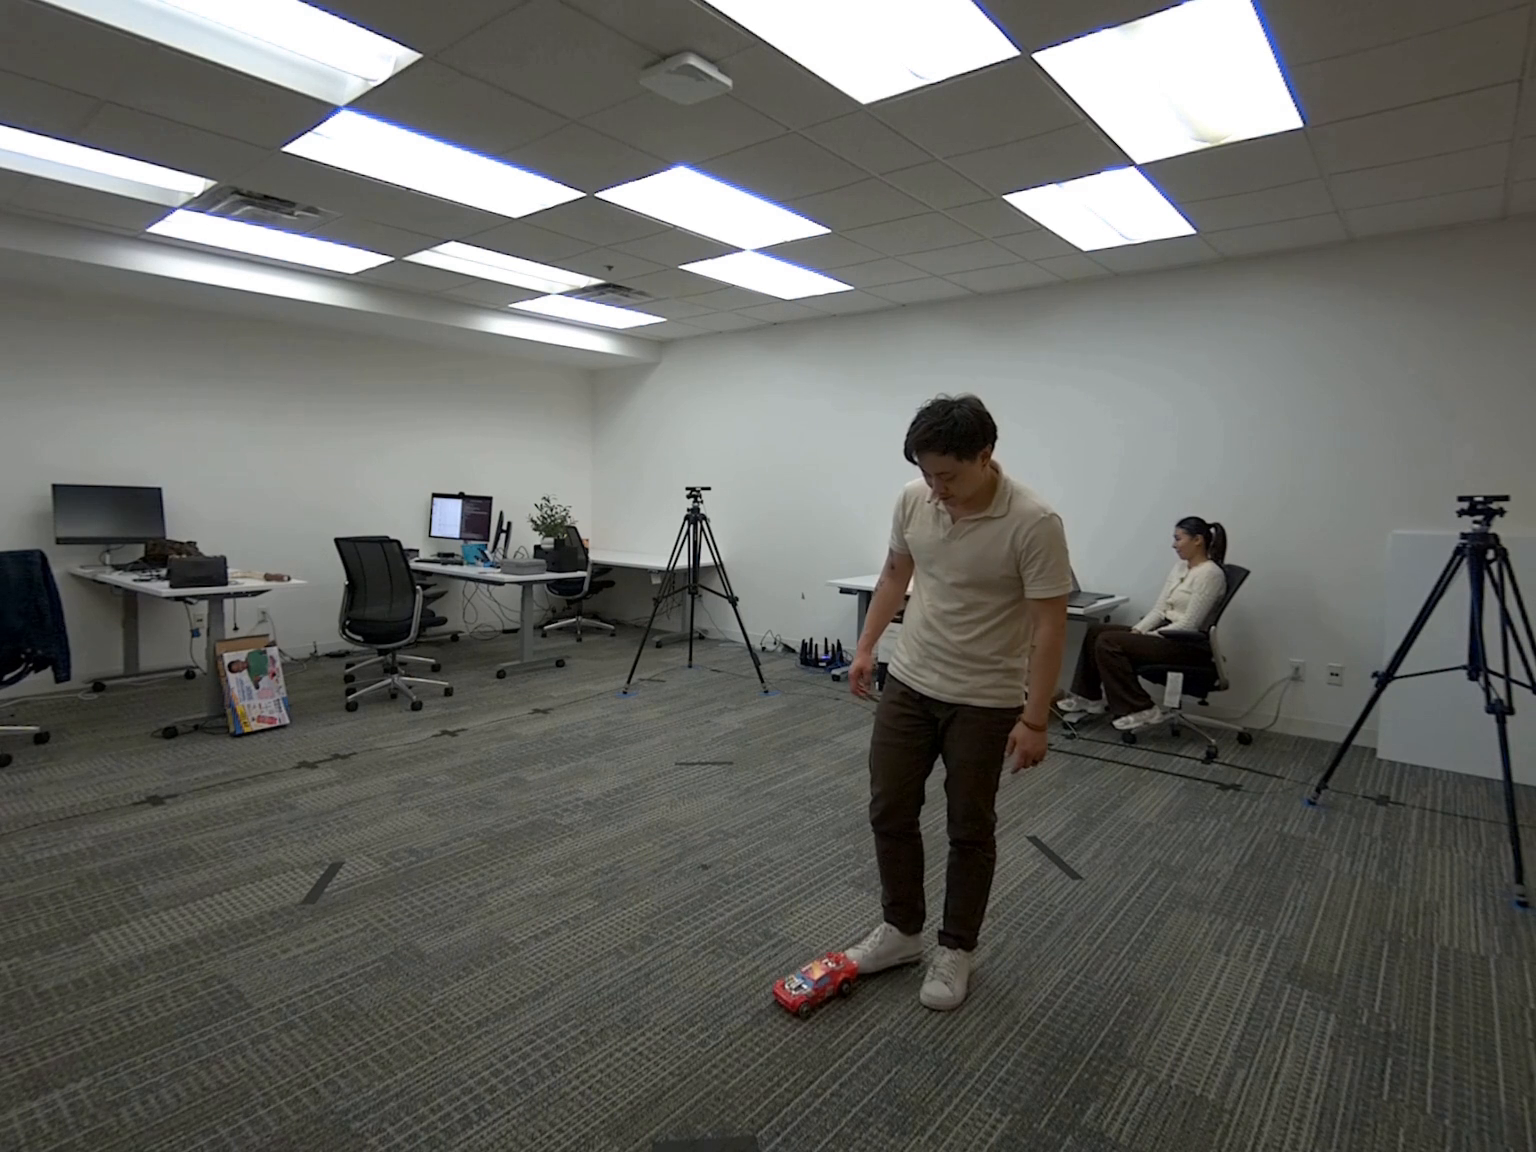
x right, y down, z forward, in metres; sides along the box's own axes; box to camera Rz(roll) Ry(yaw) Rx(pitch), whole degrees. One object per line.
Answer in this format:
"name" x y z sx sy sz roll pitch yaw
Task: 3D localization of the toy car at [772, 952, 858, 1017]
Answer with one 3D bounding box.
"toy car" 0.132 1.116 2.336 0.250 0.082 0.134 -20 16 -31
